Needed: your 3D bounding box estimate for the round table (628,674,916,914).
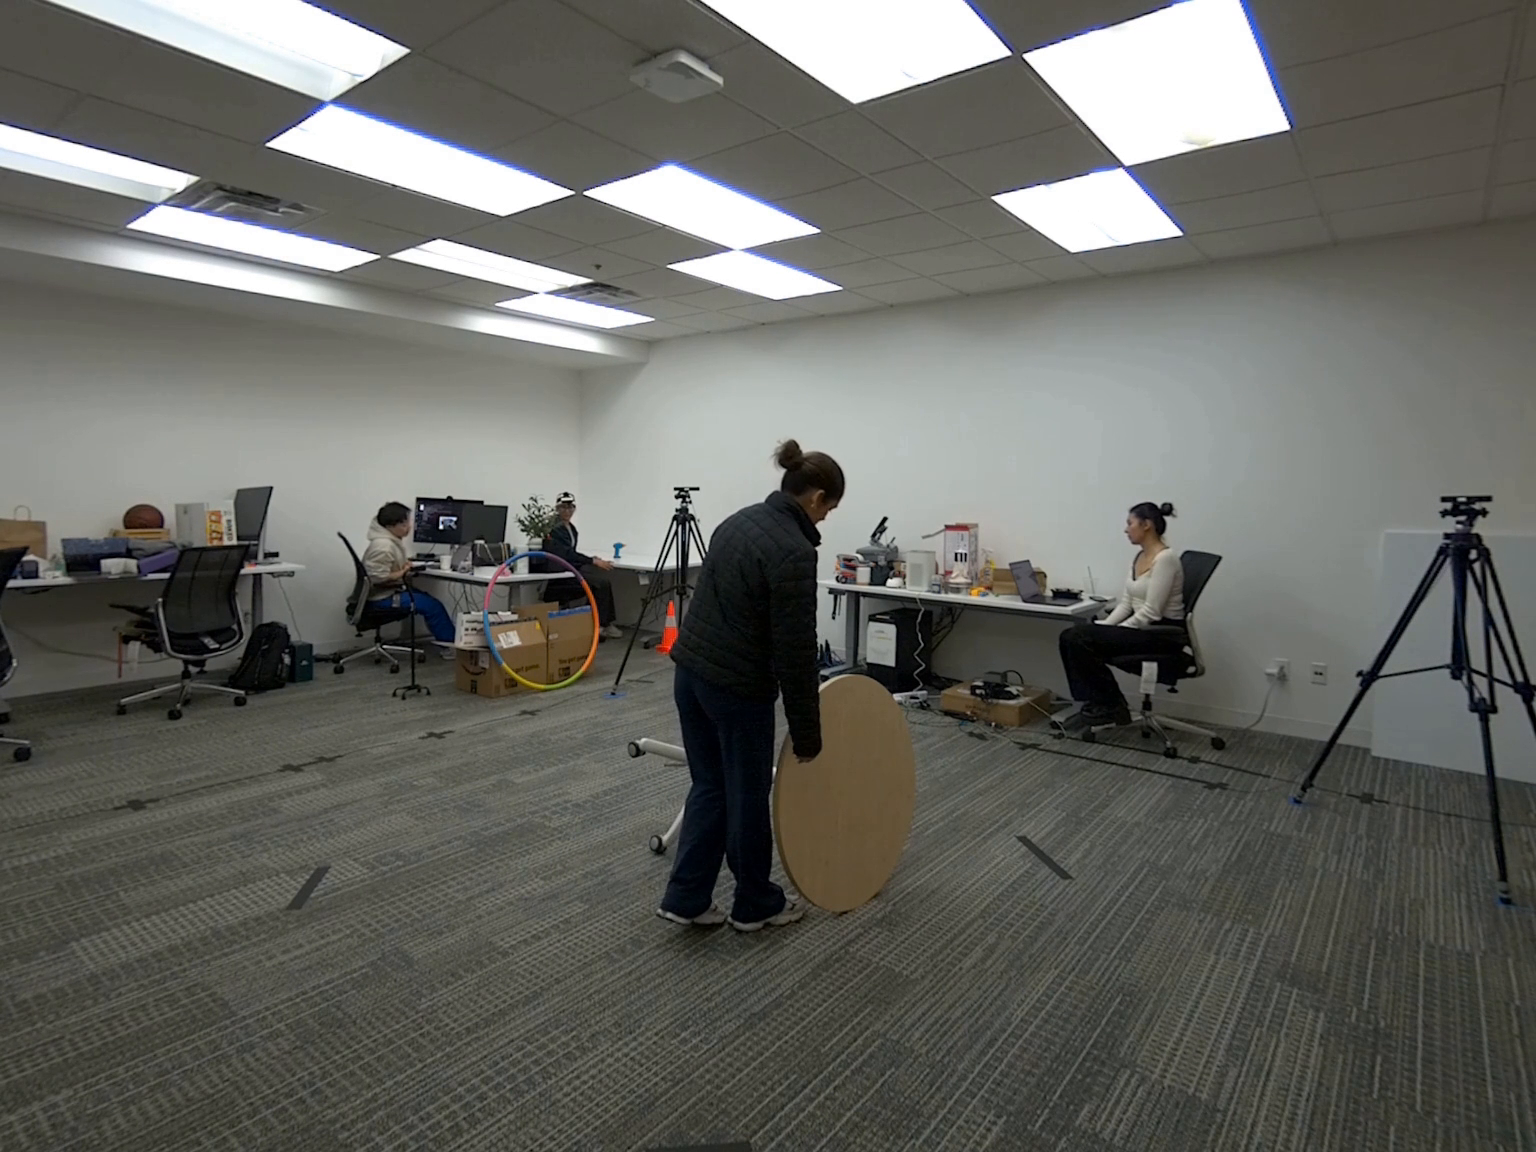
[{"bbox_3d":[0.011,0.728,3.160,0.810,0.786,0.761,-4,0,44],"label":"round table"}]
